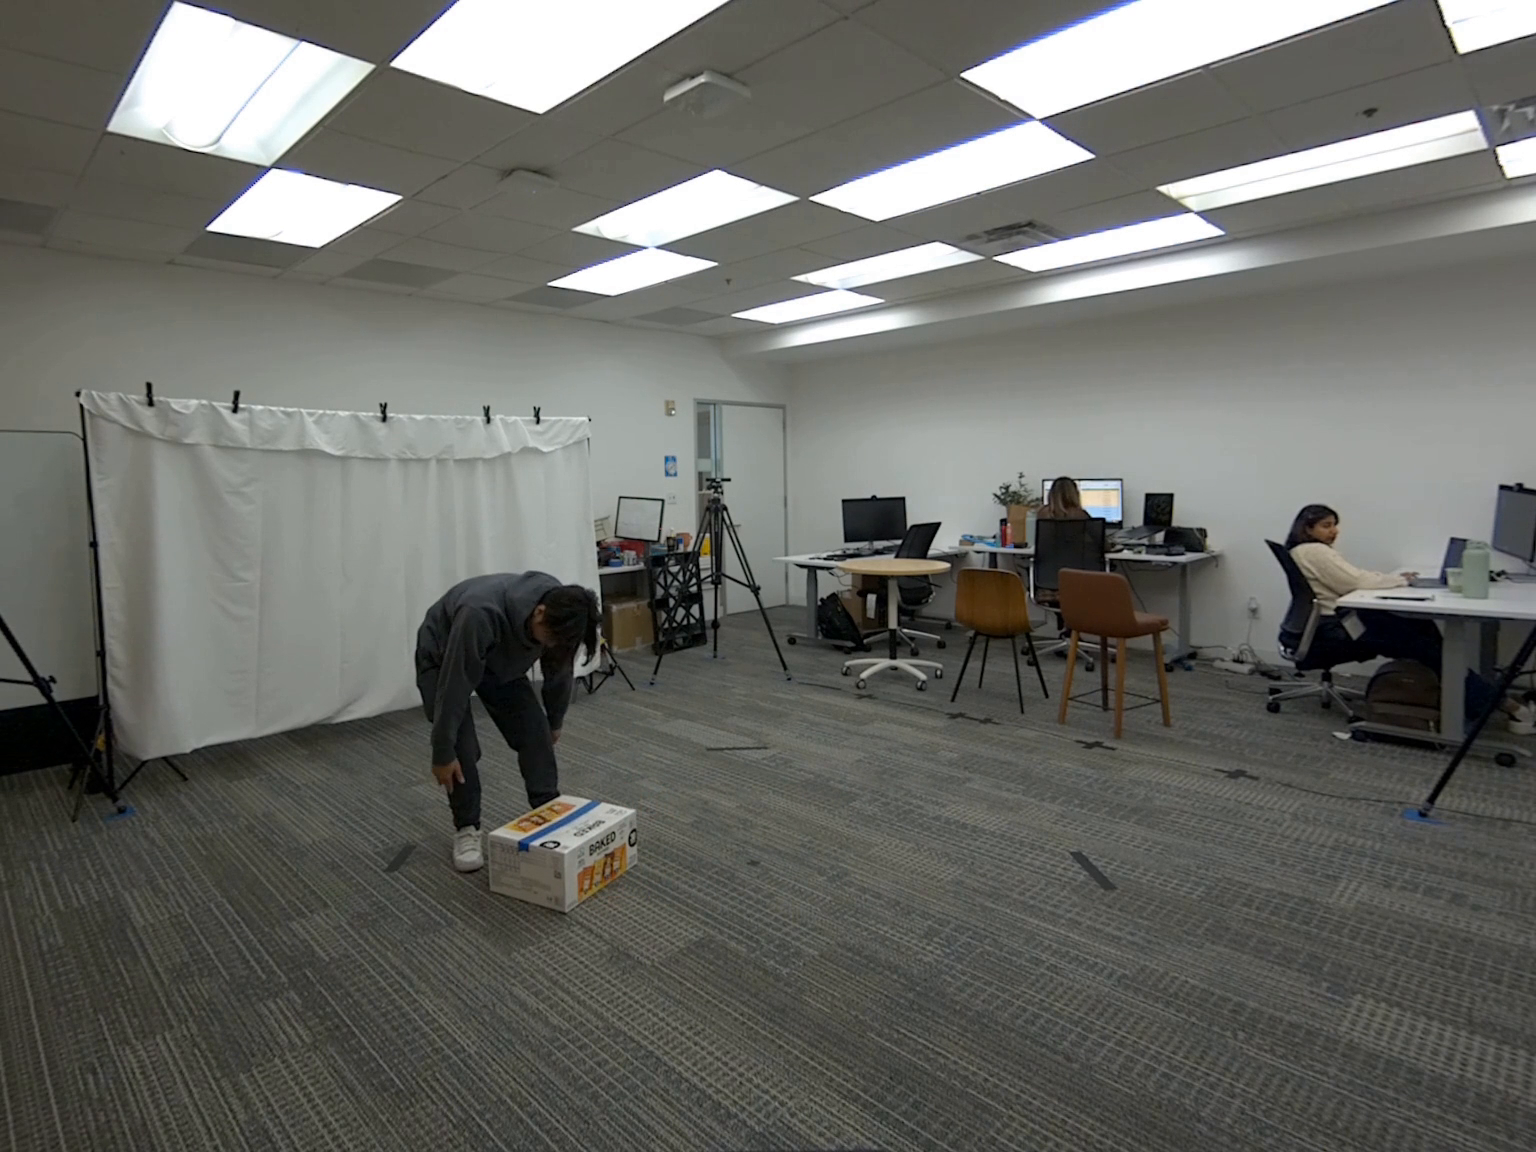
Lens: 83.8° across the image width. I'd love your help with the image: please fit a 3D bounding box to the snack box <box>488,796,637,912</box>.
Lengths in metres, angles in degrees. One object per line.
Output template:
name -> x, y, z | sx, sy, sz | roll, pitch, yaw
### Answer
snack box -> -0.713, 0.964, 3.010 | 0.349, 0.205, 0.397 | 2, 7, 28
